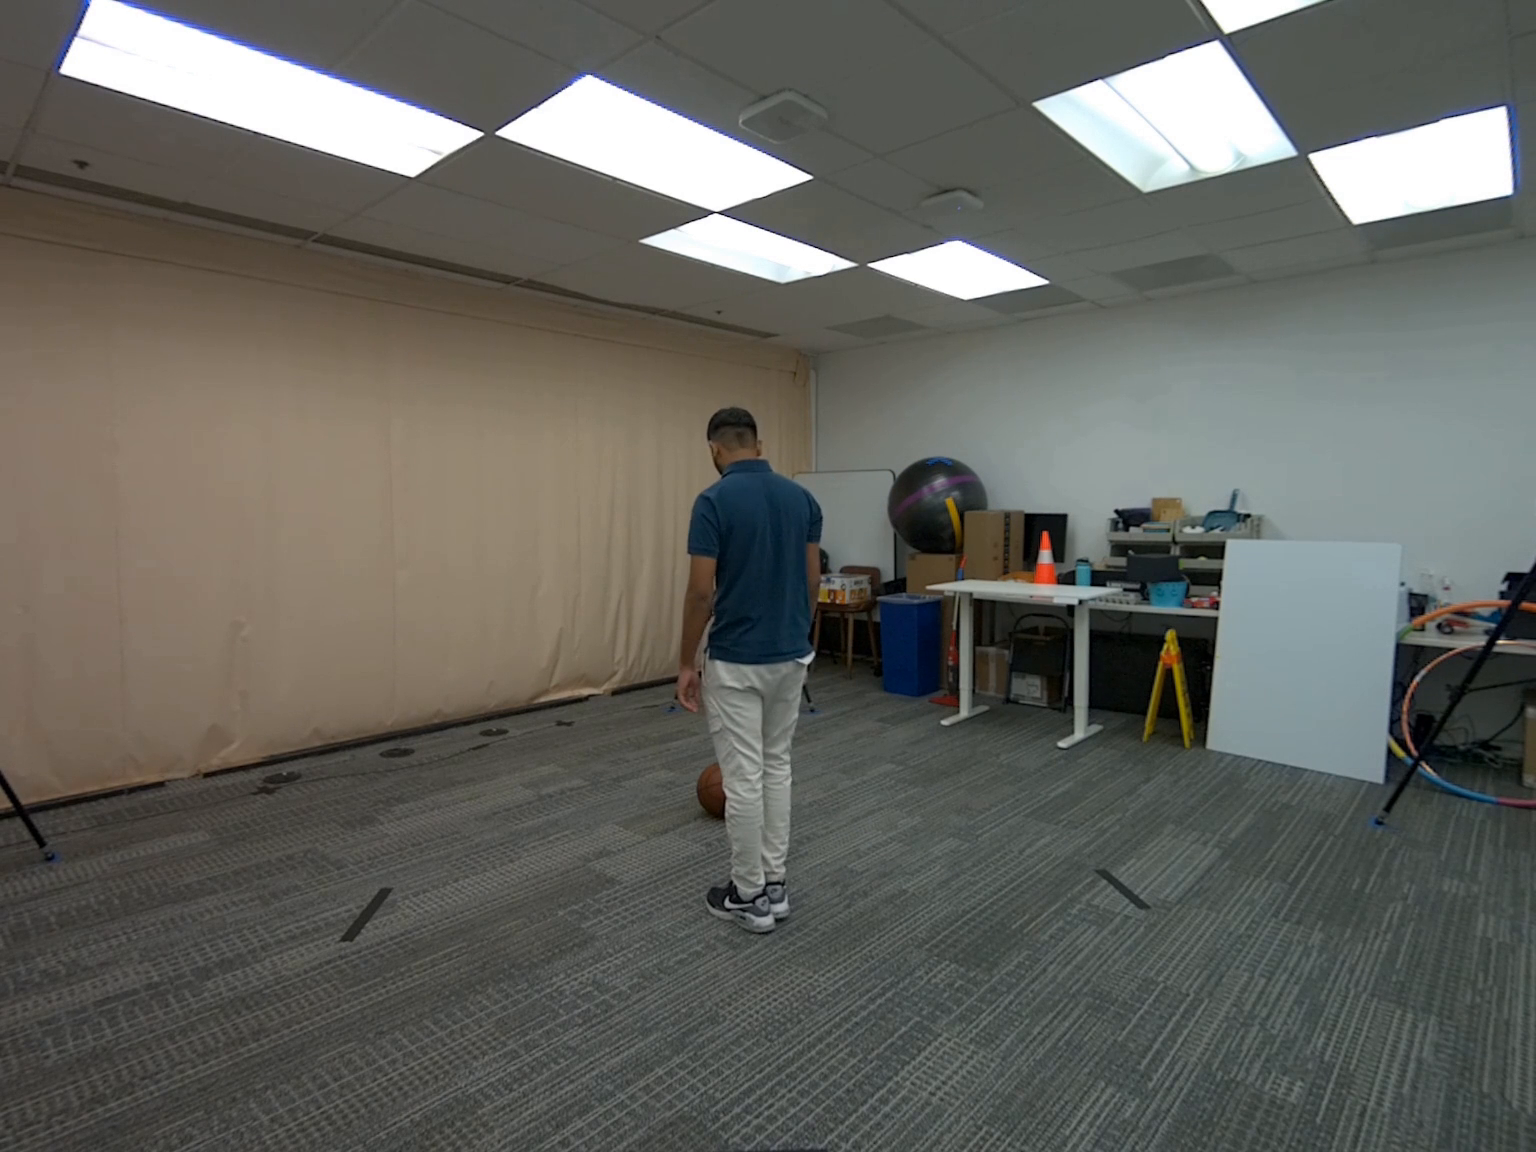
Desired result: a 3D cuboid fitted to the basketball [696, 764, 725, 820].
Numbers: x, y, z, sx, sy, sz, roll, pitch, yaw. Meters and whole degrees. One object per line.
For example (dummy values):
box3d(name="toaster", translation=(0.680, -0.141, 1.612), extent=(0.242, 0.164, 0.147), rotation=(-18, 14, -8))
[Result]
box3d(name="basketball", translation=(-0.207, 0.958, 3.797), extent=(0.236, 0.235, 0.237), rotation=(0, 4, -2))
